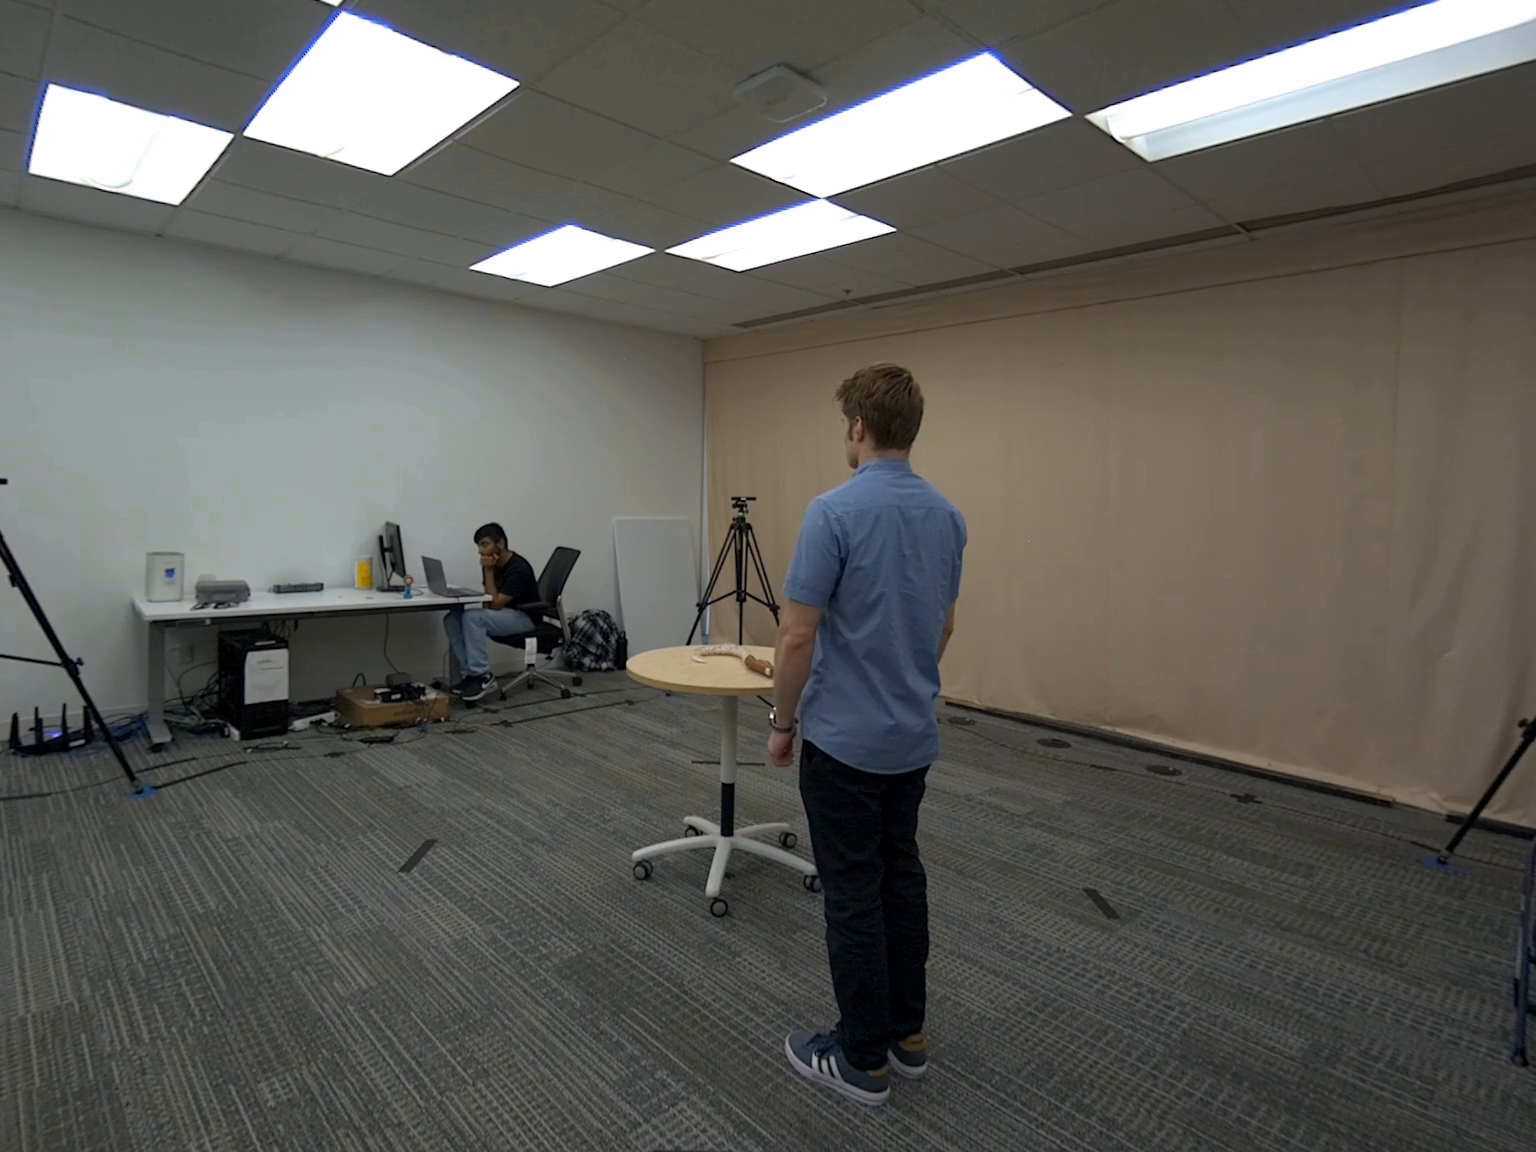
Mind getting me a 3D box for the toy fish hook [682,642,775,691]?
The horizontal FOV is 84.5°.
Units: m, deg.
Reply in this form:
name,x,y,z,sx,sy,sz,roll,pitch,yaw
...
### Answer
name,x,y,z,sx,sy,sz,roll,pitch,yaw
toy fish hook,-0.130,0.318,3.062,0.221,0.048,0.516,-8,7,-21
